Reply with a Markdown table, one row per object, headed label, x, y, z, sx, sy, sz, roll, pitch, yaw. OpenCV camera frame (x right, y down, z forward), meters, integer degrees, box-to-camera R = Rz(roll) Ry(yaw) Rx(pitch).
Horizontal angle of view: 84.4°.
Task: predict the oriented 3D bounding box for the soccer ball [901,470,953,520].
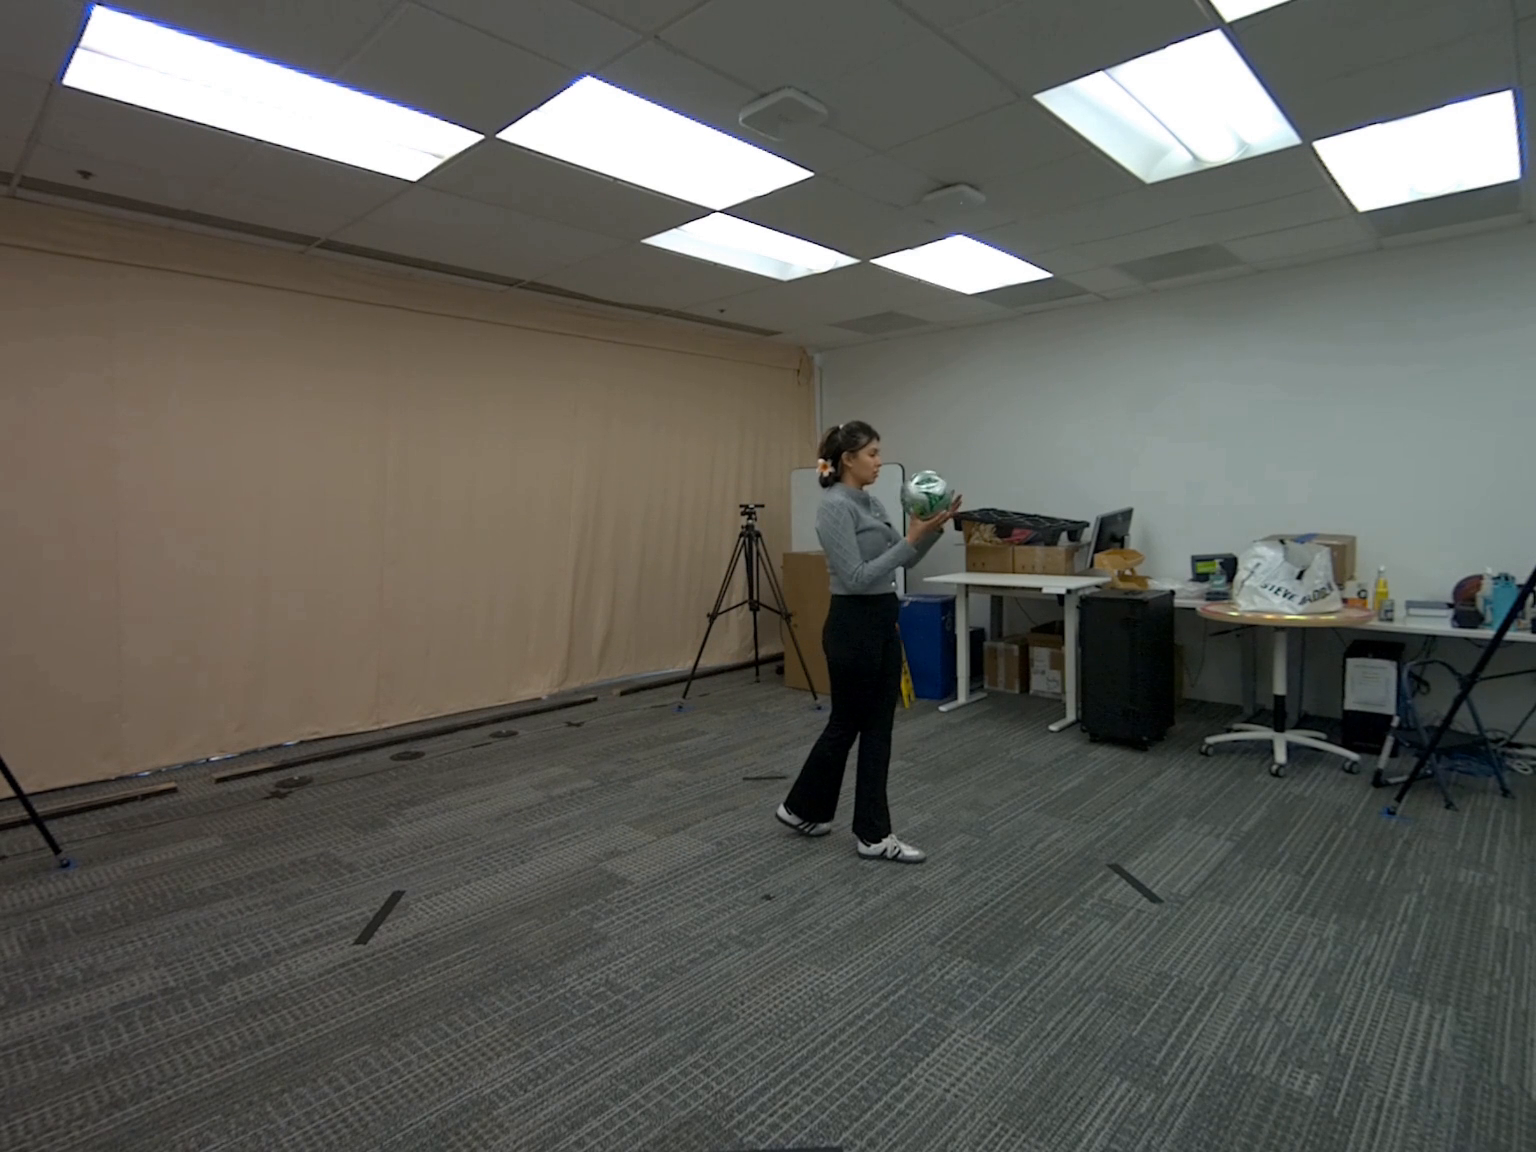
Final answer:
| label | x | y | z | sx | sy | sz | roll | pitch | yaw |
| --- | --- | --- | --- | --- | --- | --- | --- | --- | --- |
| soccer ball | 0.574 | -0.290 | 3.127 | 0.187 | 0.187 | 0.188 | -1 | 4 | -2 |
